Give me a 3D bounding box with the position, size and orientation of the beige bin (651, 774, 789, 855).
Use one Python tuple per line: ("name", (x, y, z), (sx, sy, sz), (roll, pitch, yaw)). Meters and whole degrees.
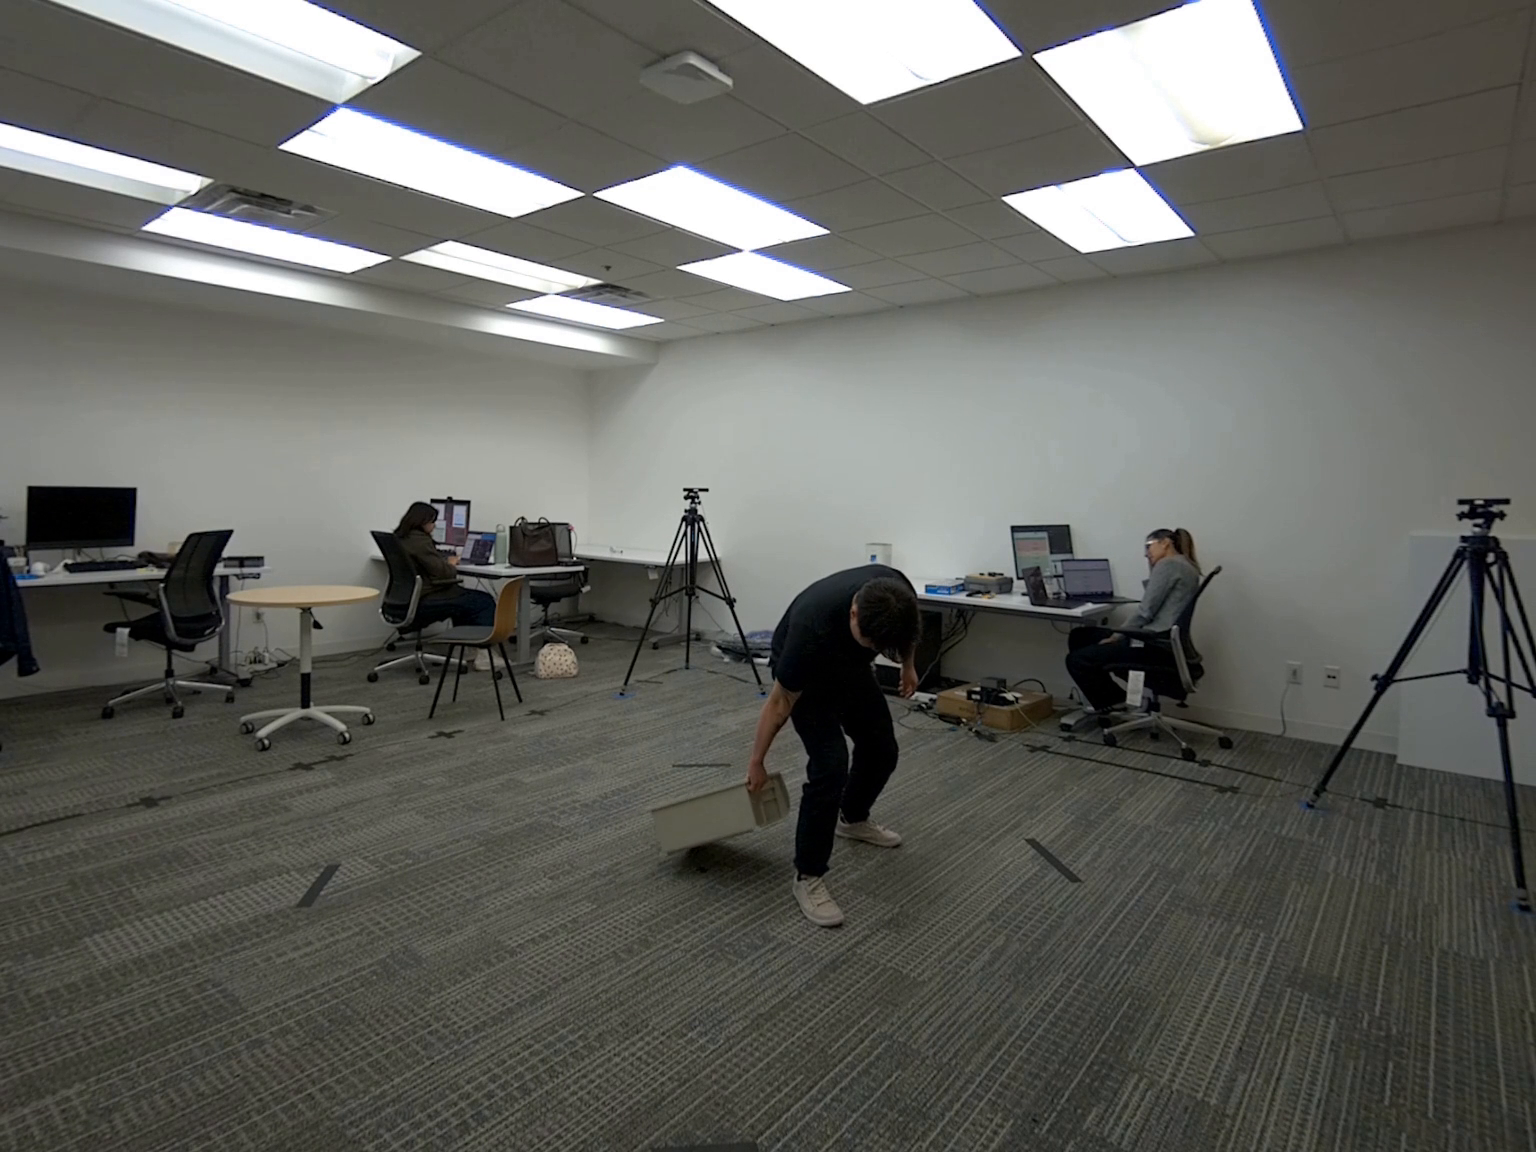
("beige bin", (-0.185, 0.883, 3.180), (0.427, 0.192, 0.367), (-19, -12, 18))
